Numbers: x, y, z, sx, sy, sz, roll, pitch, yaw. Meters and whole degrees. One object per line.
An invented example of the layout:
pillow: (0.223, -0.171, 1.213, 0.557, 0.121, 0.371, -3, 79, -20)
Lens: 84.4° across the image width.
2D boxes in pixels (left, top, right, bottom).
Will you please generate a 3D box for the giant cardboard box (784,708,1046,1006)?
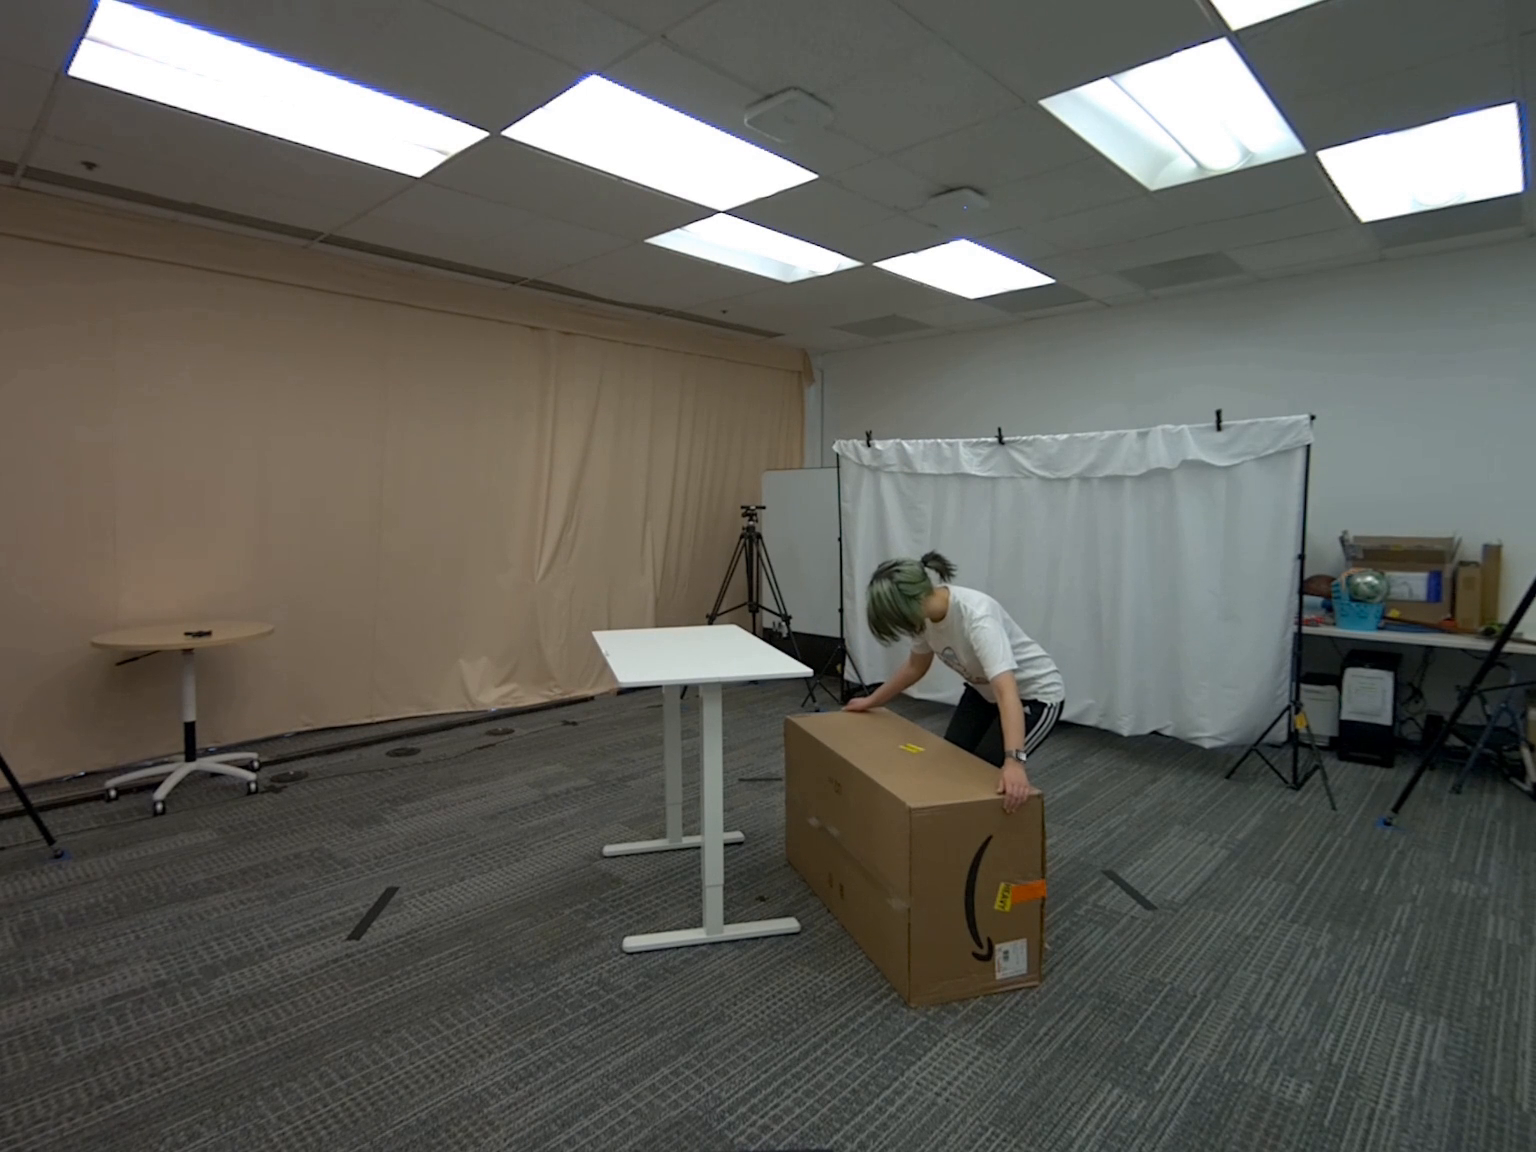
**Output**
giant cardboard box: (0.435, 0.862, 2.856, 0.439, 0.582, 1.048, -1, 5, -18)
